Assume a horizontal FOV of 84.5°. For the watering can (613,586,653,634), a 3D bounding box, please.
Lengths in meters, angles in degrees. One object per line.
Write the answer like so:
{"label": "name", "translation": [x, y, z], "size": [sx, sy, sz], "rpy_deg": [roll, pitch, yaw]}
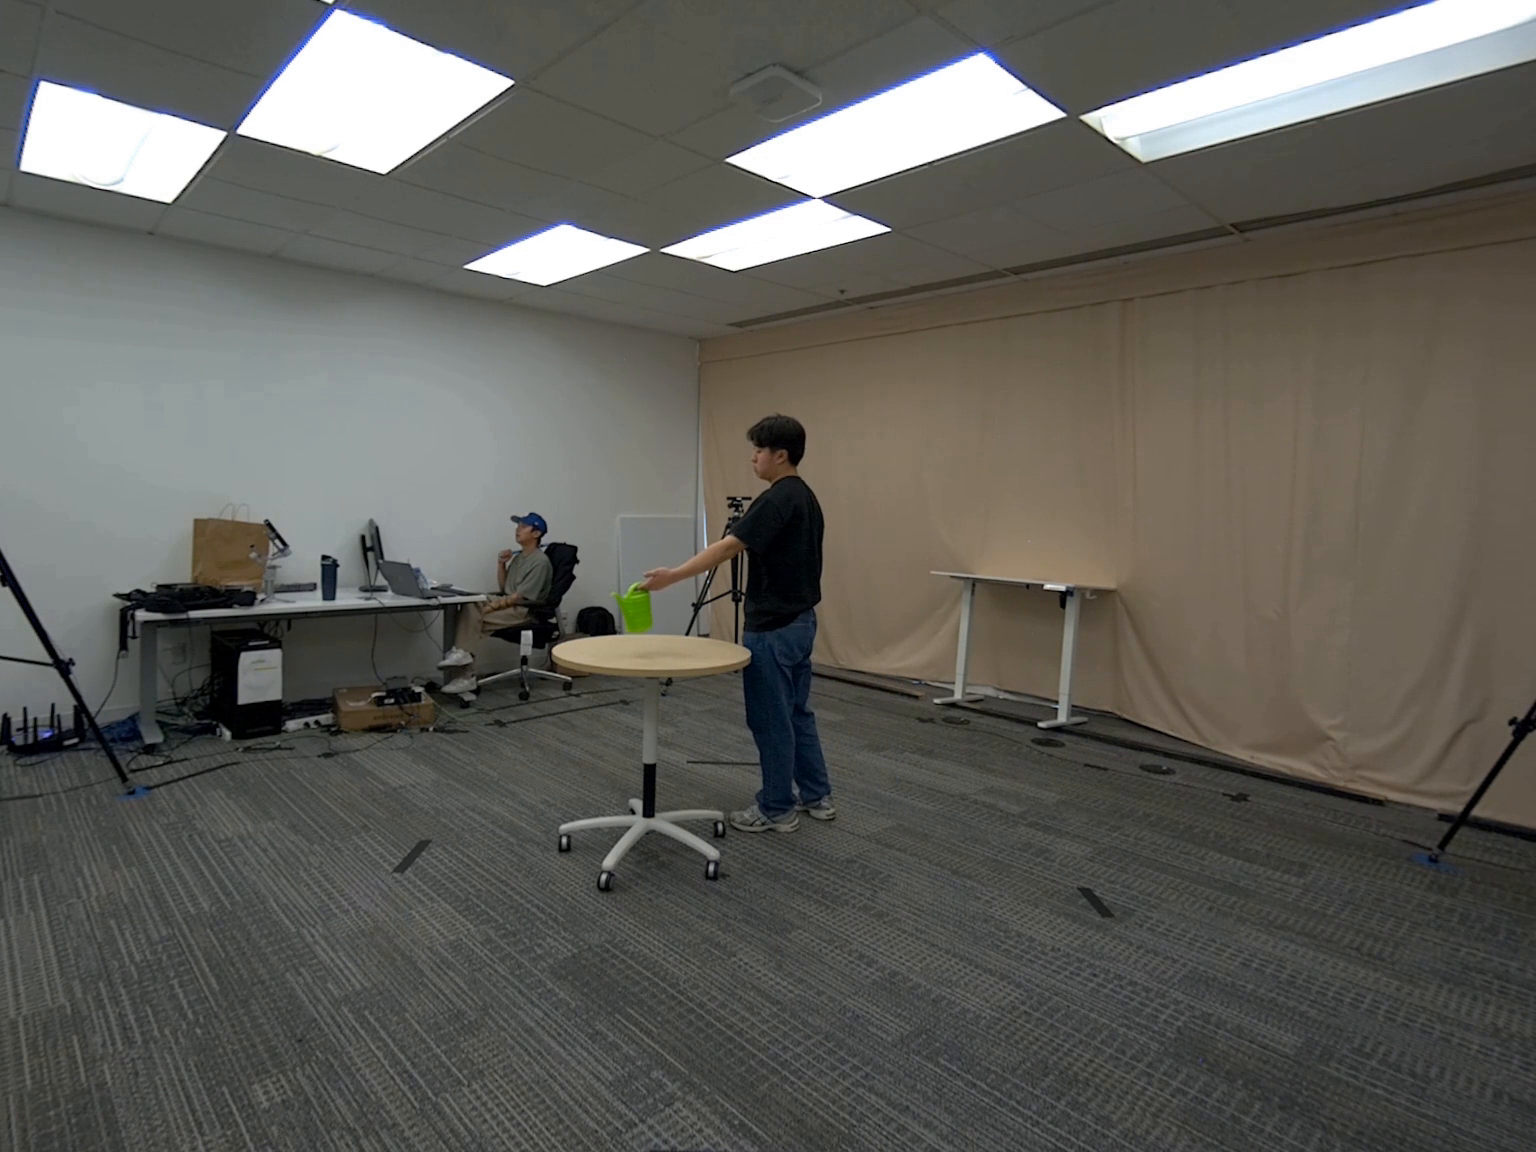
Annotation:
{"label": "watering can", "translation": [-0.507, 0.123, 3.104], "size": [0.100, 0.176, 0.274], "rpy_deg": [3, 10, 27]}
